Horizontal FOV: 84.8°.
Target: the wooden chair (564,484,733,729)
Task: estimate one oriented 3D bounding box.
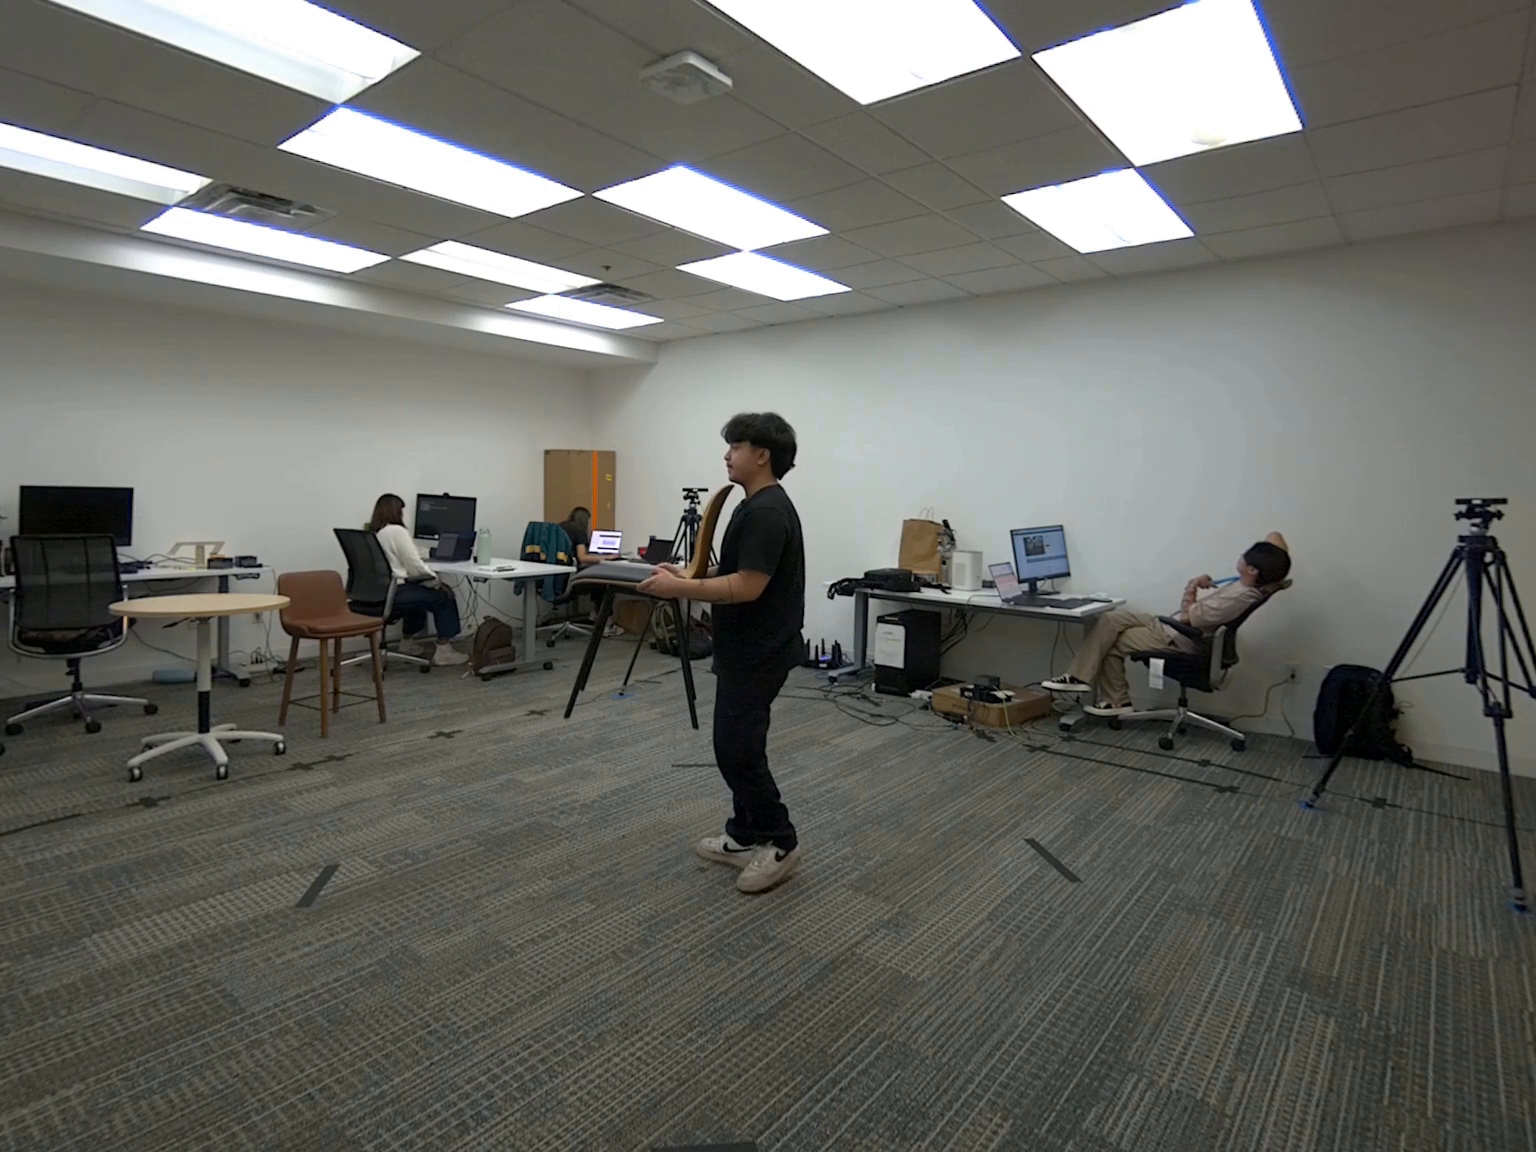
[{"bbox_3d":[-0.457,0.059,3.059,0.520,0.875,0.483,10,3,-6],"label":"wooden chair"}]
